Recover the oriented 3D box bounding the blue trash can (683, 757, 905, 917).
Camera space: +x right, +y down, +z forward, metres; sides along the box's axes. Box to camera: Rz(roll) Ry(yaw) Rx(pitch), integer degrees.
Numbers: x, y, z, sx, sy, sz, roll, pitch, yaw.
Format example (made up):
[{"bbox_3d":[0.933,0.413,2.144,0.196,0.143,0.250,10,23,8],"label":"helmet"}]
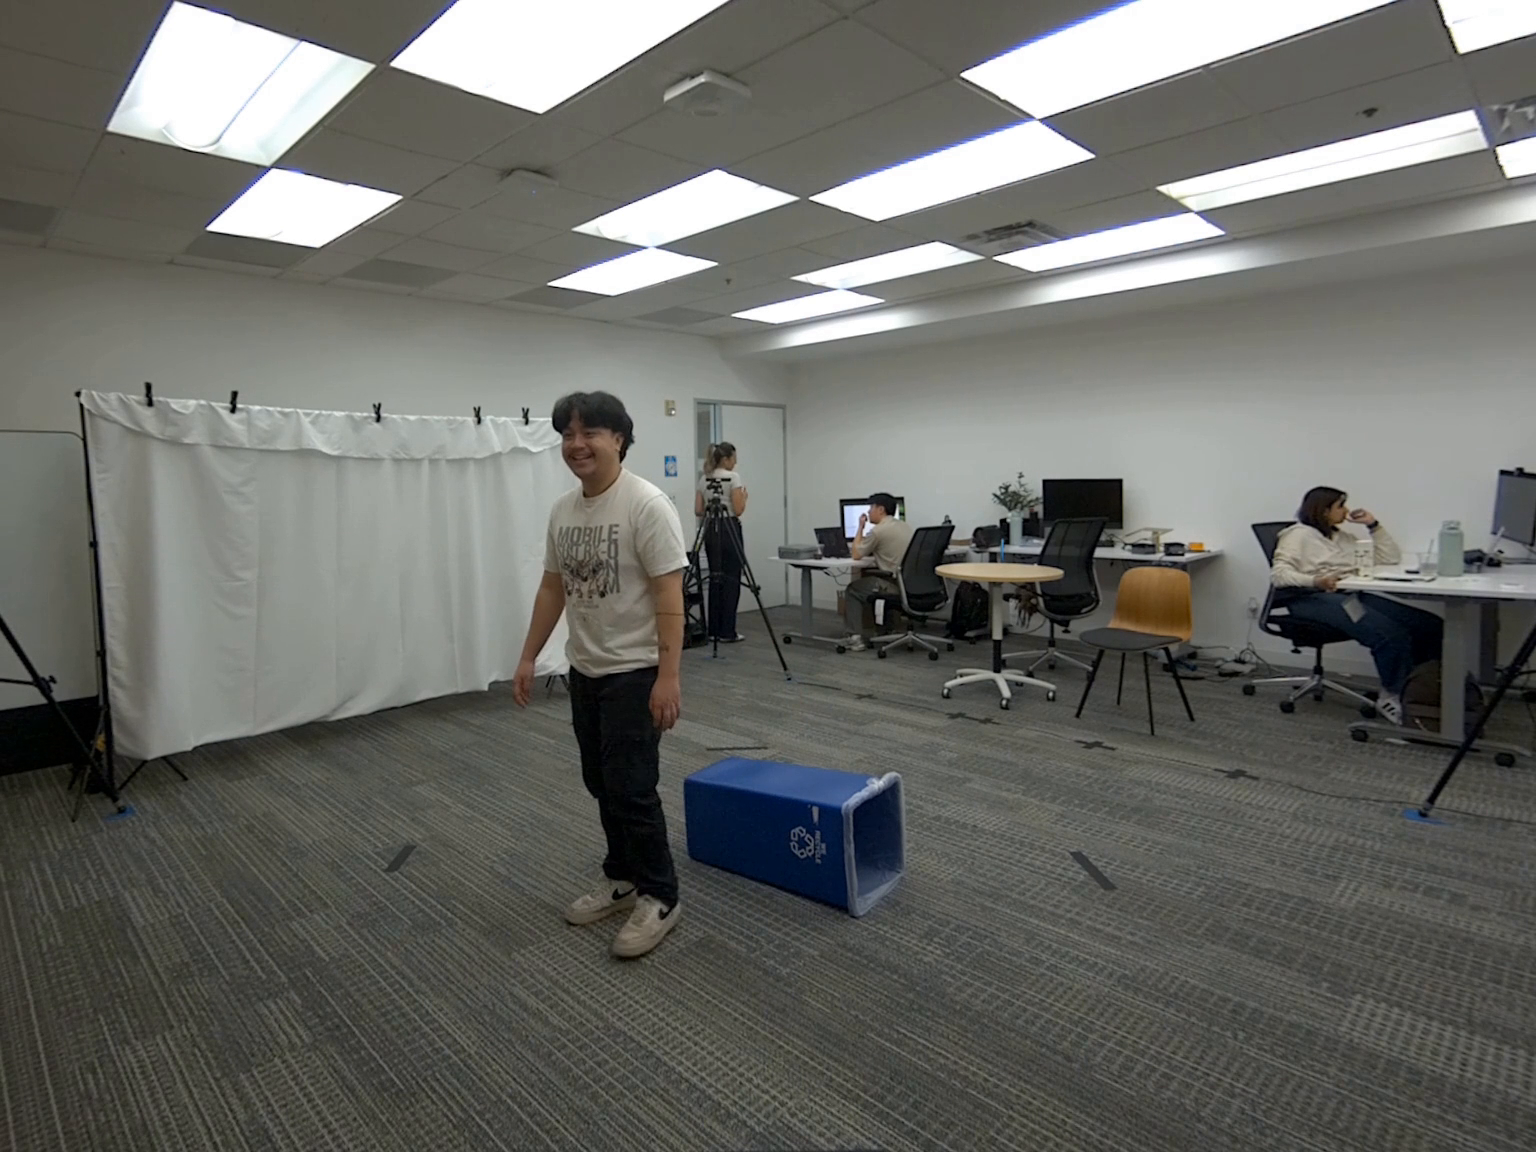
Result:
[{"bbox_3d":[0.080,0.883,3.046,0.733,0.373,0.369,-1,5,37],"label":"blue trash can"}]
